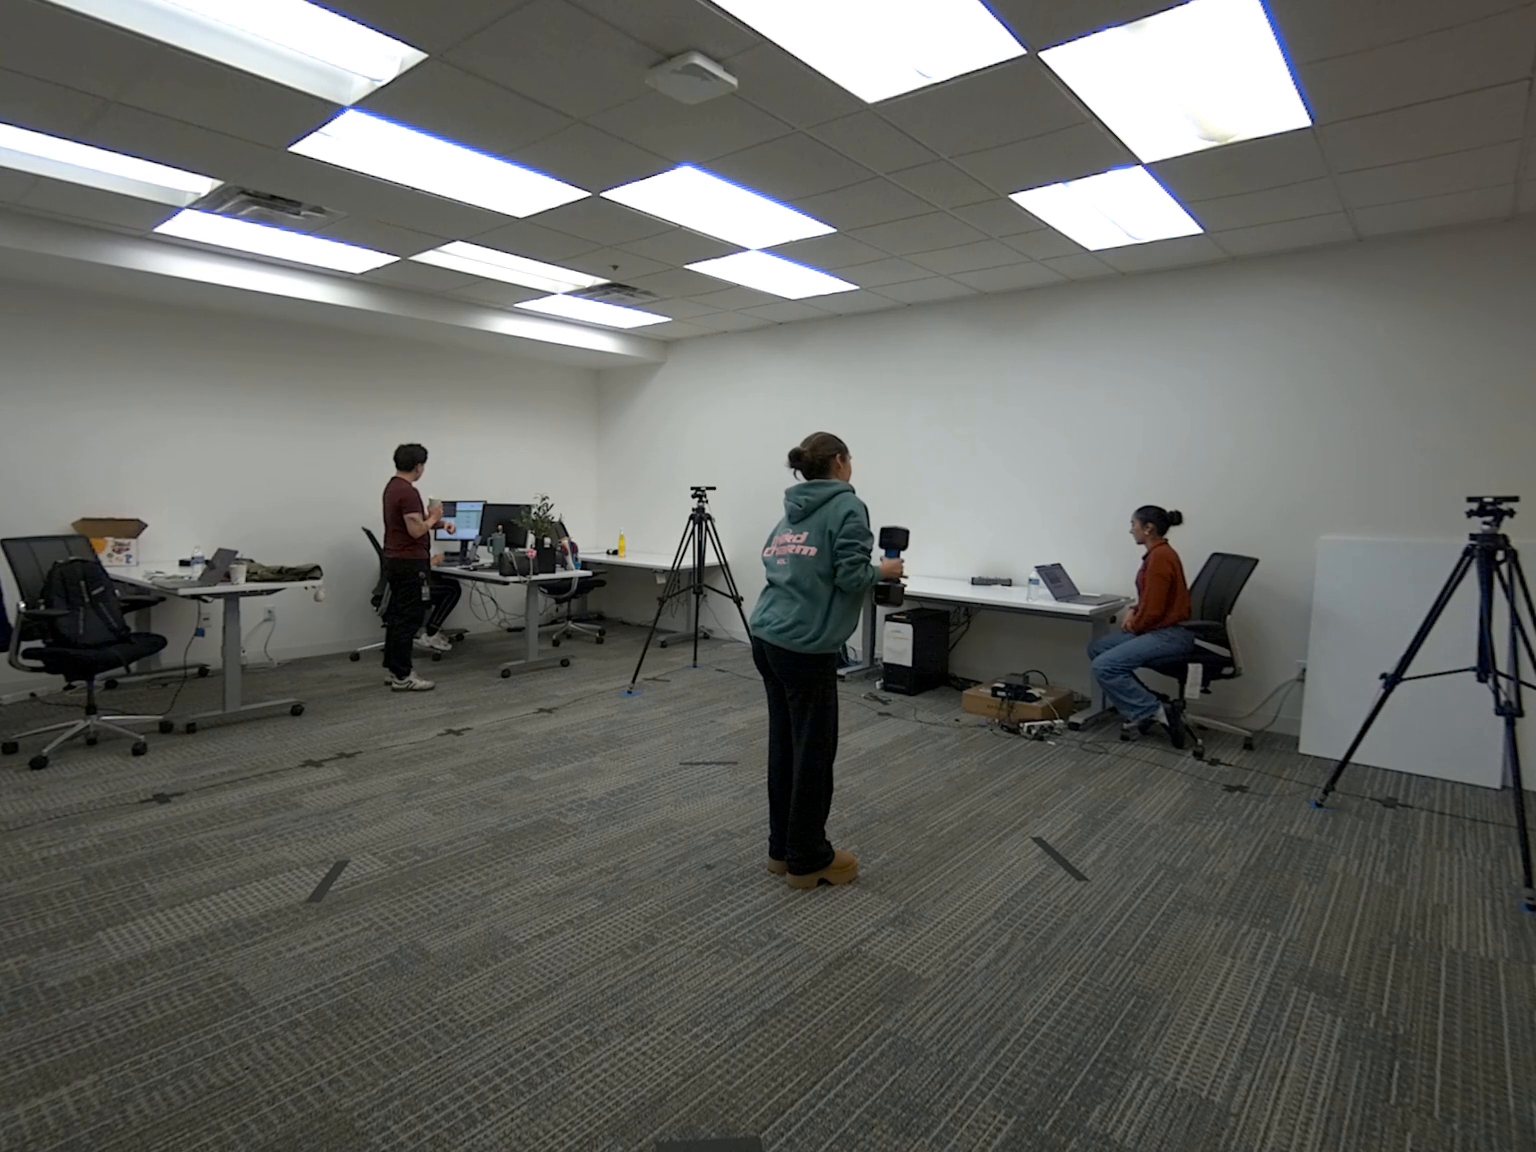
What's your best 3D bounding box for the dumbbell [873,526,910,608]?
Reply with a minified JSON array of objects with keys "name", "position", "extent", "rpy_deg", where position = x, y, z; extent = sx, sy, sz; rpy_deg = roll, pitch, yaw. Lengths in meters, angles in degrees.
[{"name":"dumbbell","position":[0.443,-0.032,3.130],"extent":[0.120,0.296,0.110],"rpy_deg":[10,-11,-18]}]
